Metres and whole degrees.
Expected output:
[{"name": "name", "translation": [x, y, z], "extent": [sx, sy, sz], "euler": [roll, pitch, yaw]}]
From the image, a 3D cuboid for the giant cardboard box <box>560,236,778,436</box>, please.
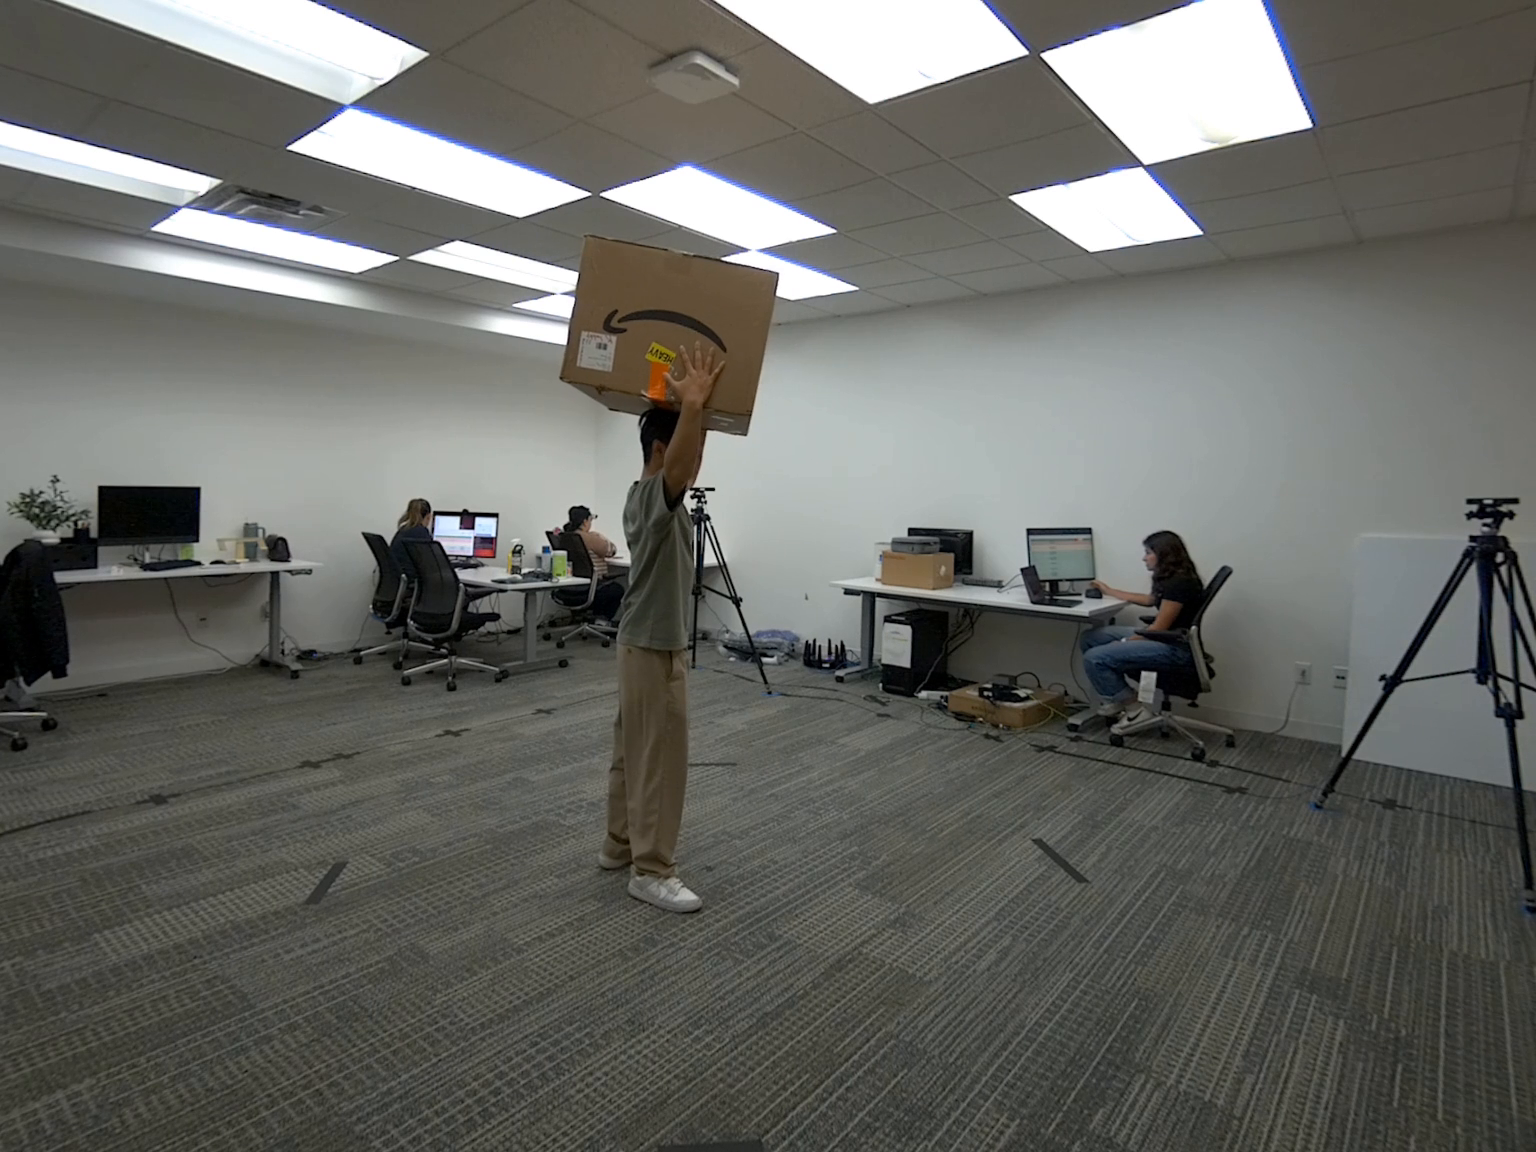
[{"name": "giant cardboard box", "translation": [-0.314, -0.784, 2.949], "extent": [0.577, 0.425, 1.030], "euler": [12, 5, -2]}]
